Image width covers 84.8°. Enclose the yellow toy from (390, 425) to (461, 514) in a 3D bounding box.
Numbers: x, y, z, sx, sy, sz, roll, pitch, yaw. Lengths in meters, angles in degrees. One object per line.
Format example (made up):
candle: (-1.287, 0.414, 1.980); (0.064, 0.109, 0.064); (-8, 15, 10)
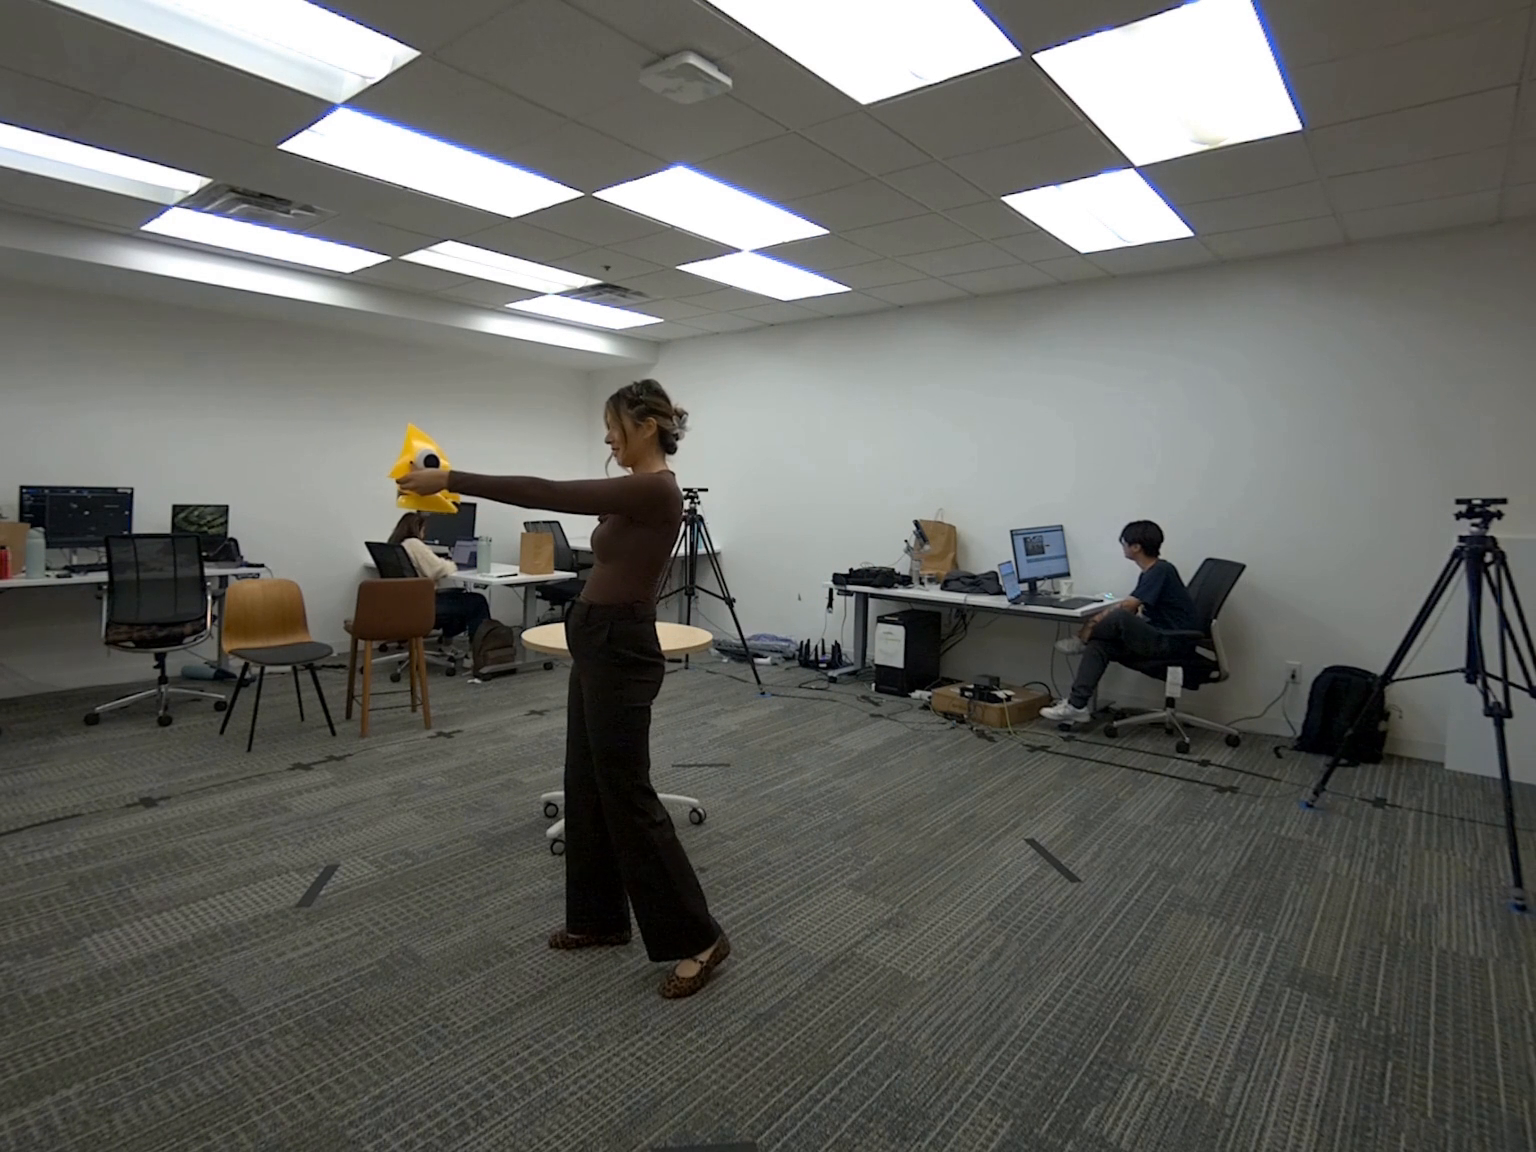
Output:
yellow toy: (-0.952, -0.303, 2.357); (0.189, 0.230, 0.209); (5, 4, -19)
